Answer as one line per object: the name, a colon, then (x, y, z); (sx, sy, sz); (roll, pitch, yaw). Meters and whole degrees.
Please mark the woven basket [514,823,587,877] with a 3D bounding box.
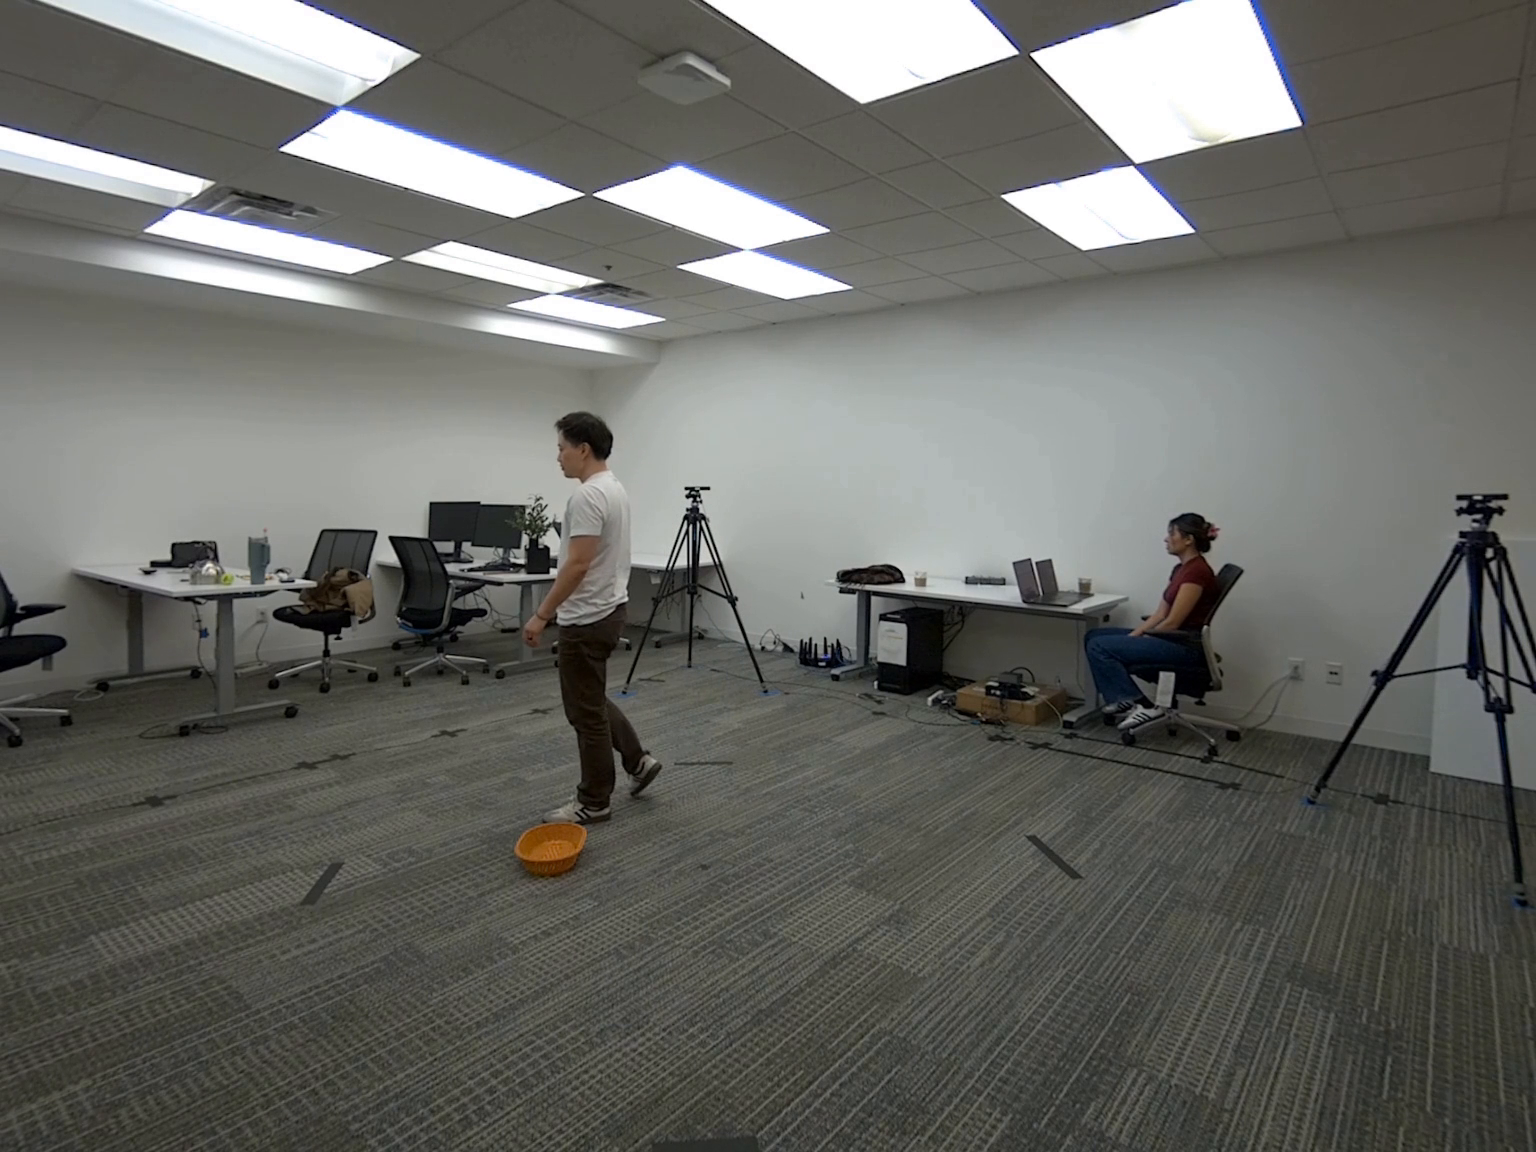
woven basket: (-0.815, 1.013, 3.163); (0.252, 0.073, 0.352); (-1, 5, -3)
